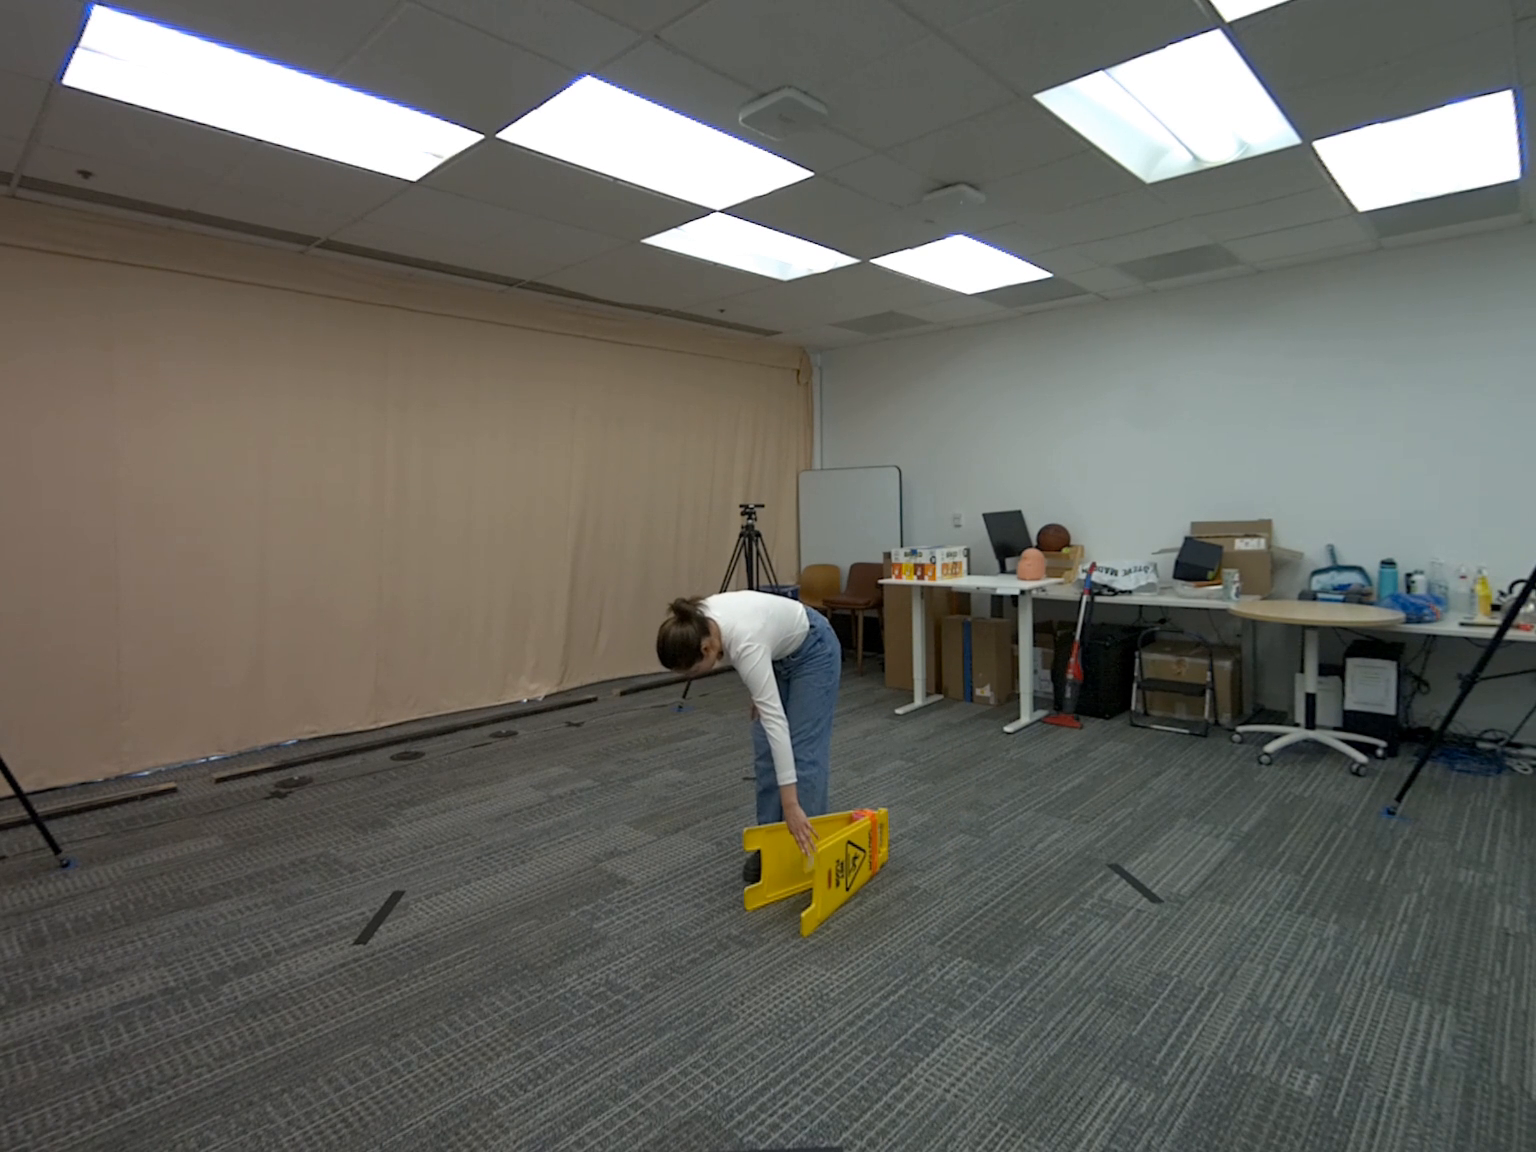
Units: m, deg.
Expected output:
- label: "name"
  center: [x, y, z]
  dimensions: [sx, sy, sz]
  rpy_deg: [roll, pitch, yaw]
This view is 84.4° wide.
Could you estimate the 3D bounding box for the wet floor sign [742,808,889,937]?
- label: "wet floor sign"
  center: [0.236, 1.003, 3.016]
  dimensions: [0.626, 0.282, 0.299]
  rpy_deg: [-3, 5, -45]
